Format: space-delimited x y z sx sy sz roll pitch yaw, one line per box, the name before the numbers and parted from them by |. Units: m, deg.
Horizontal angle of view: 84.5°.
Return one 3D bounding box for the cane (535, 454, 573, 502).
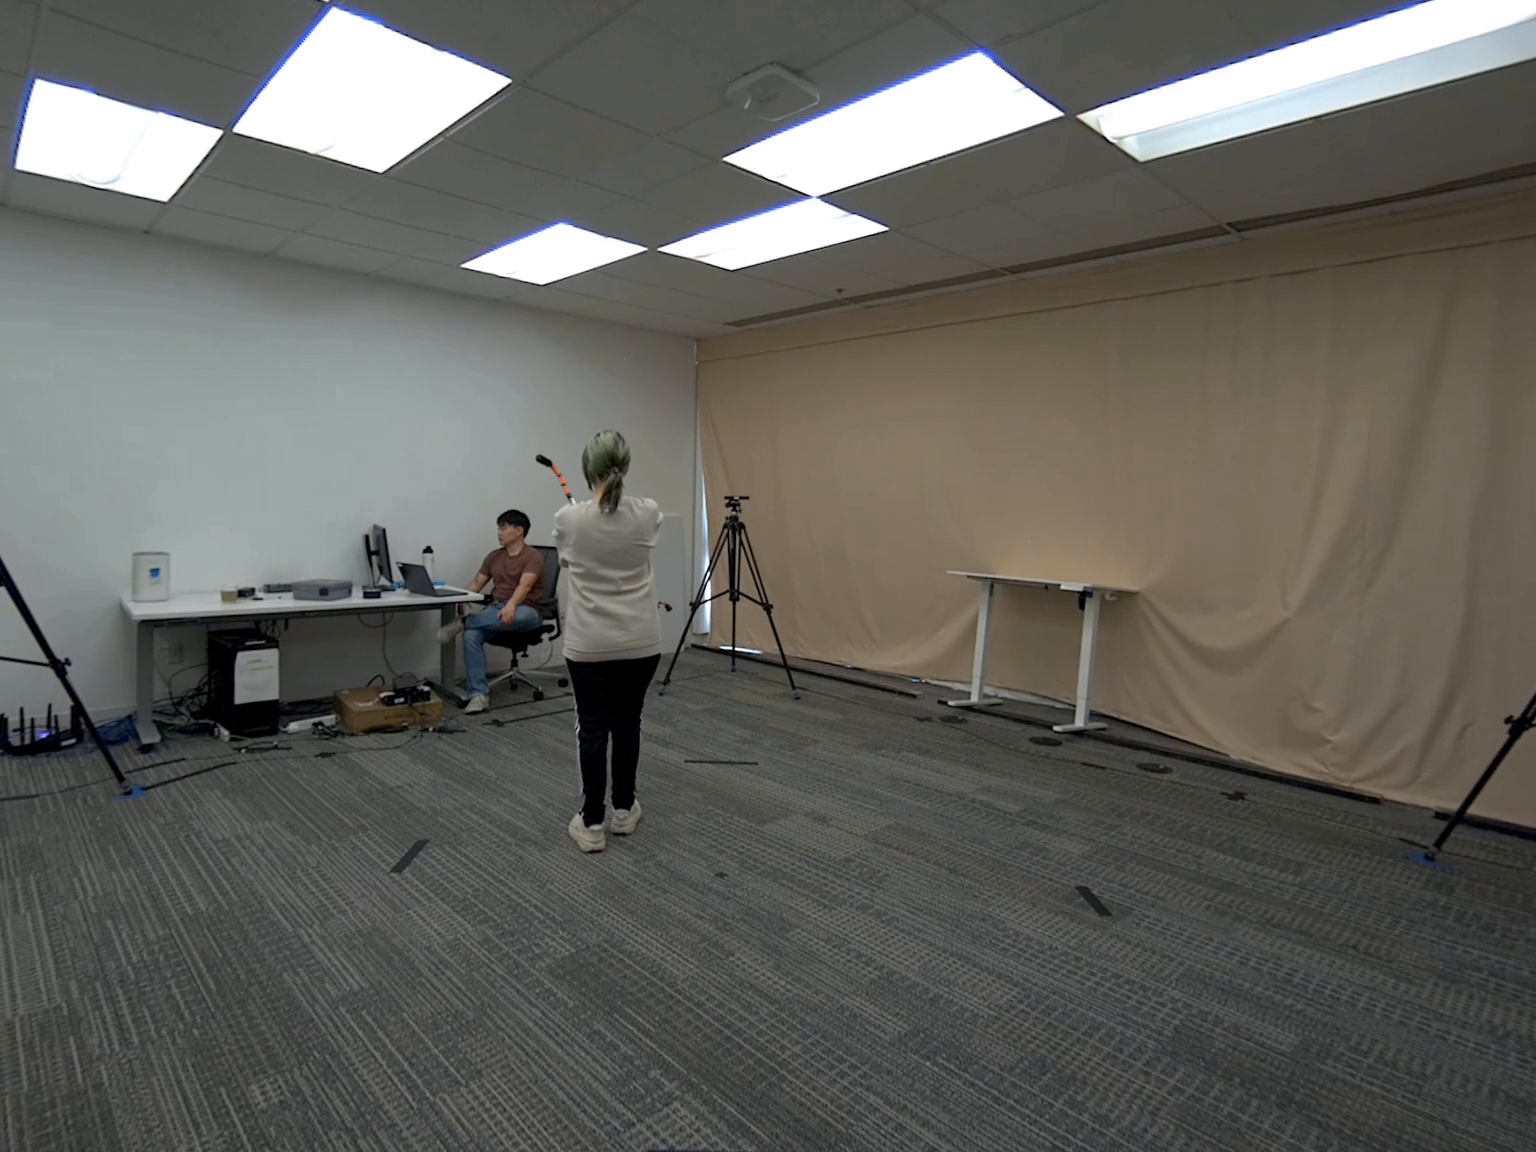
cane | -0.765 -0.180 3.826 0.152 0.920 0.203 -36 -12 5
